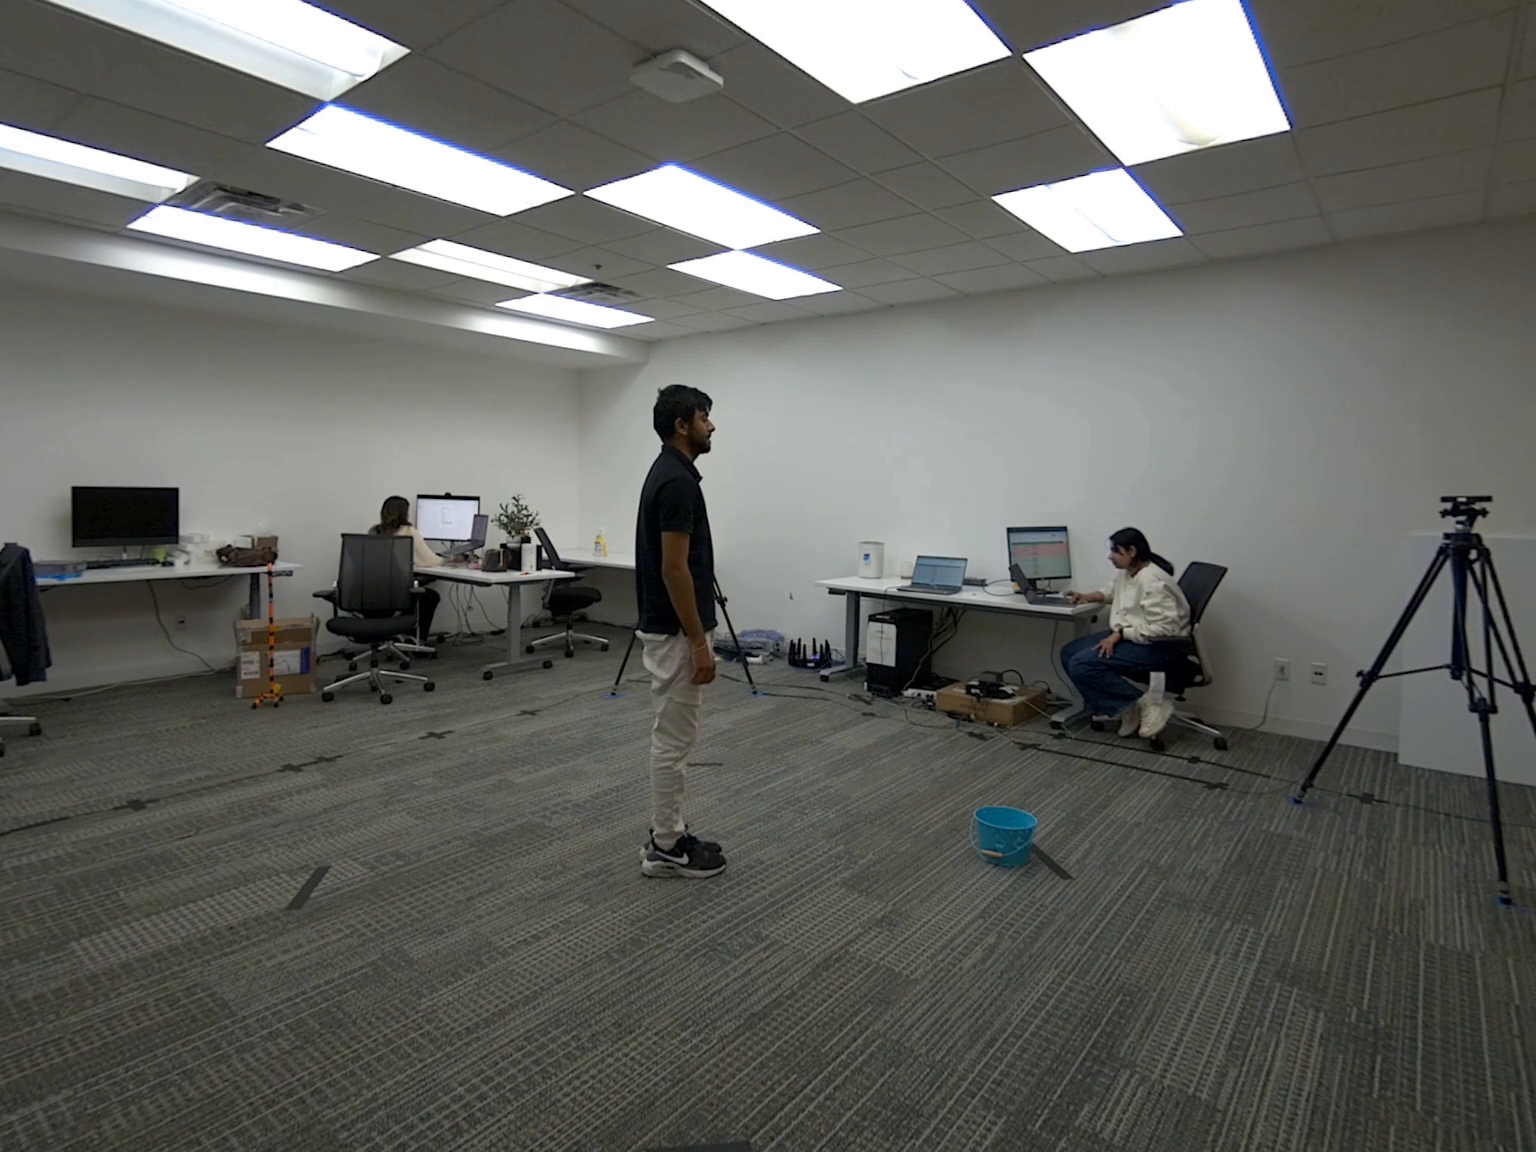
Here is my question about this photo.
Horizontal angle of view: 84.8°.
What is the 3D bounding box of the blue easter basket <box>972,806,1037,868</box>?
[{"bbox_3d":[0.898,0.998,3.274,0.243,0.155,0.245,1,5,-2],"label":"blue easter basket"}]
